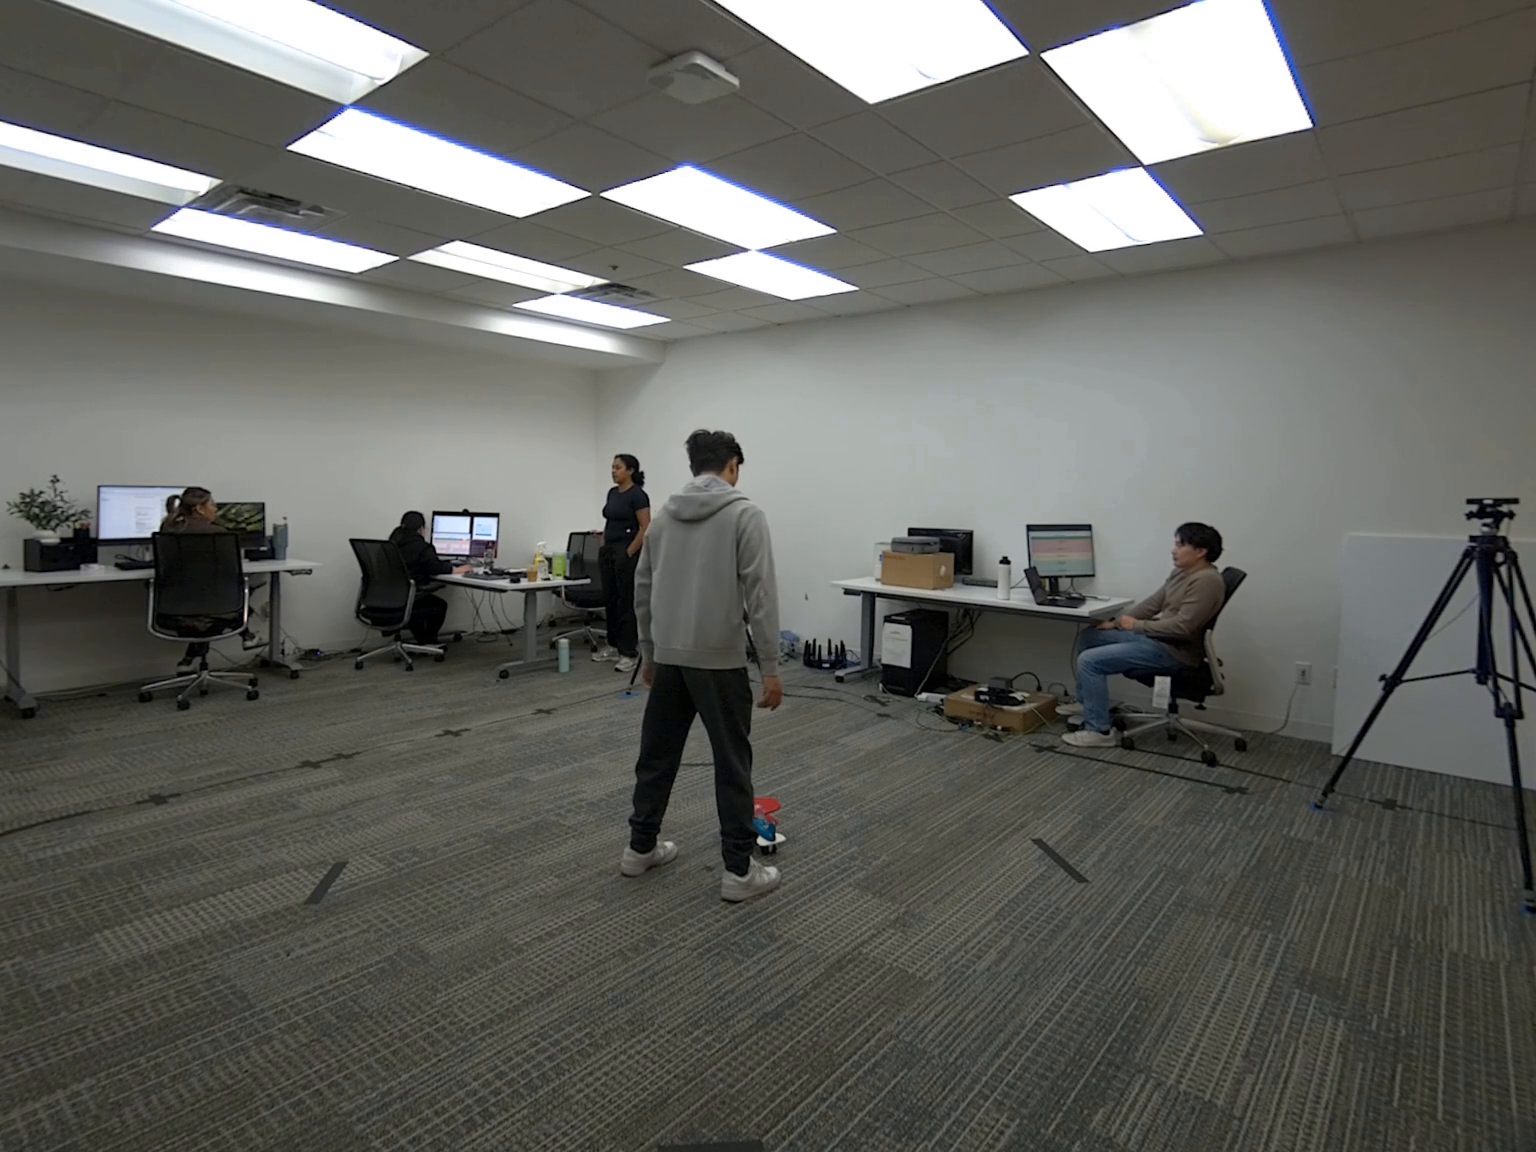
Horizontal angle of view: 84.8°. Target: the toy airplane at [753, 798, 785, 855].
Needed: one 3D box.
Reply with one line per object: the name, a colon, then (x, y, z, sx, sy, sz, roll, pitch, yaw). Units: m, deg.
toy airplane: (-0.047, 0.968, 3.333, 0.267, 0.156, 0.245, 3, 5, 29)
